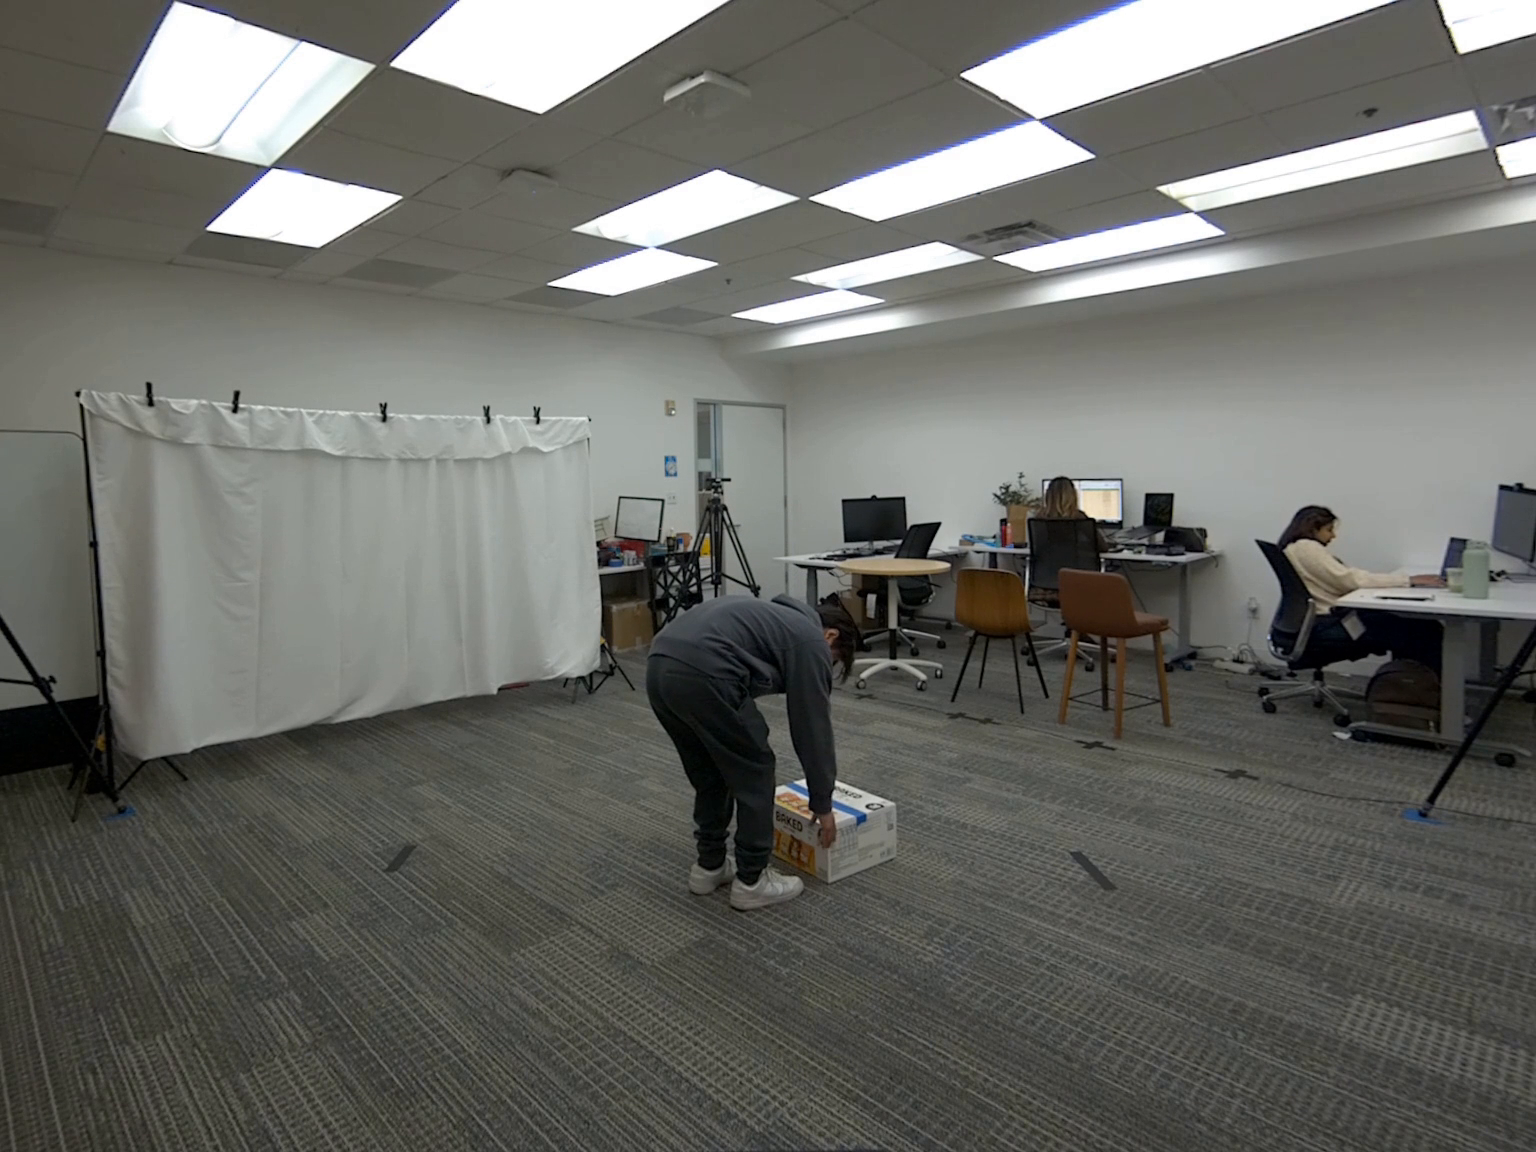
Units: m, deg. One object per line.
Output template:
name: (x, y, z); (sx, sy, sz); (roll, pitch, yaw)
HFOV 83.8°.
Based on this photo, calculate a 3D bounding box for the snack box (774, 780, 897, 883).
snack box: (0.212, 0.929, 3.179); (0.332, 0.205, 0.417); (-6, 7, -37)
